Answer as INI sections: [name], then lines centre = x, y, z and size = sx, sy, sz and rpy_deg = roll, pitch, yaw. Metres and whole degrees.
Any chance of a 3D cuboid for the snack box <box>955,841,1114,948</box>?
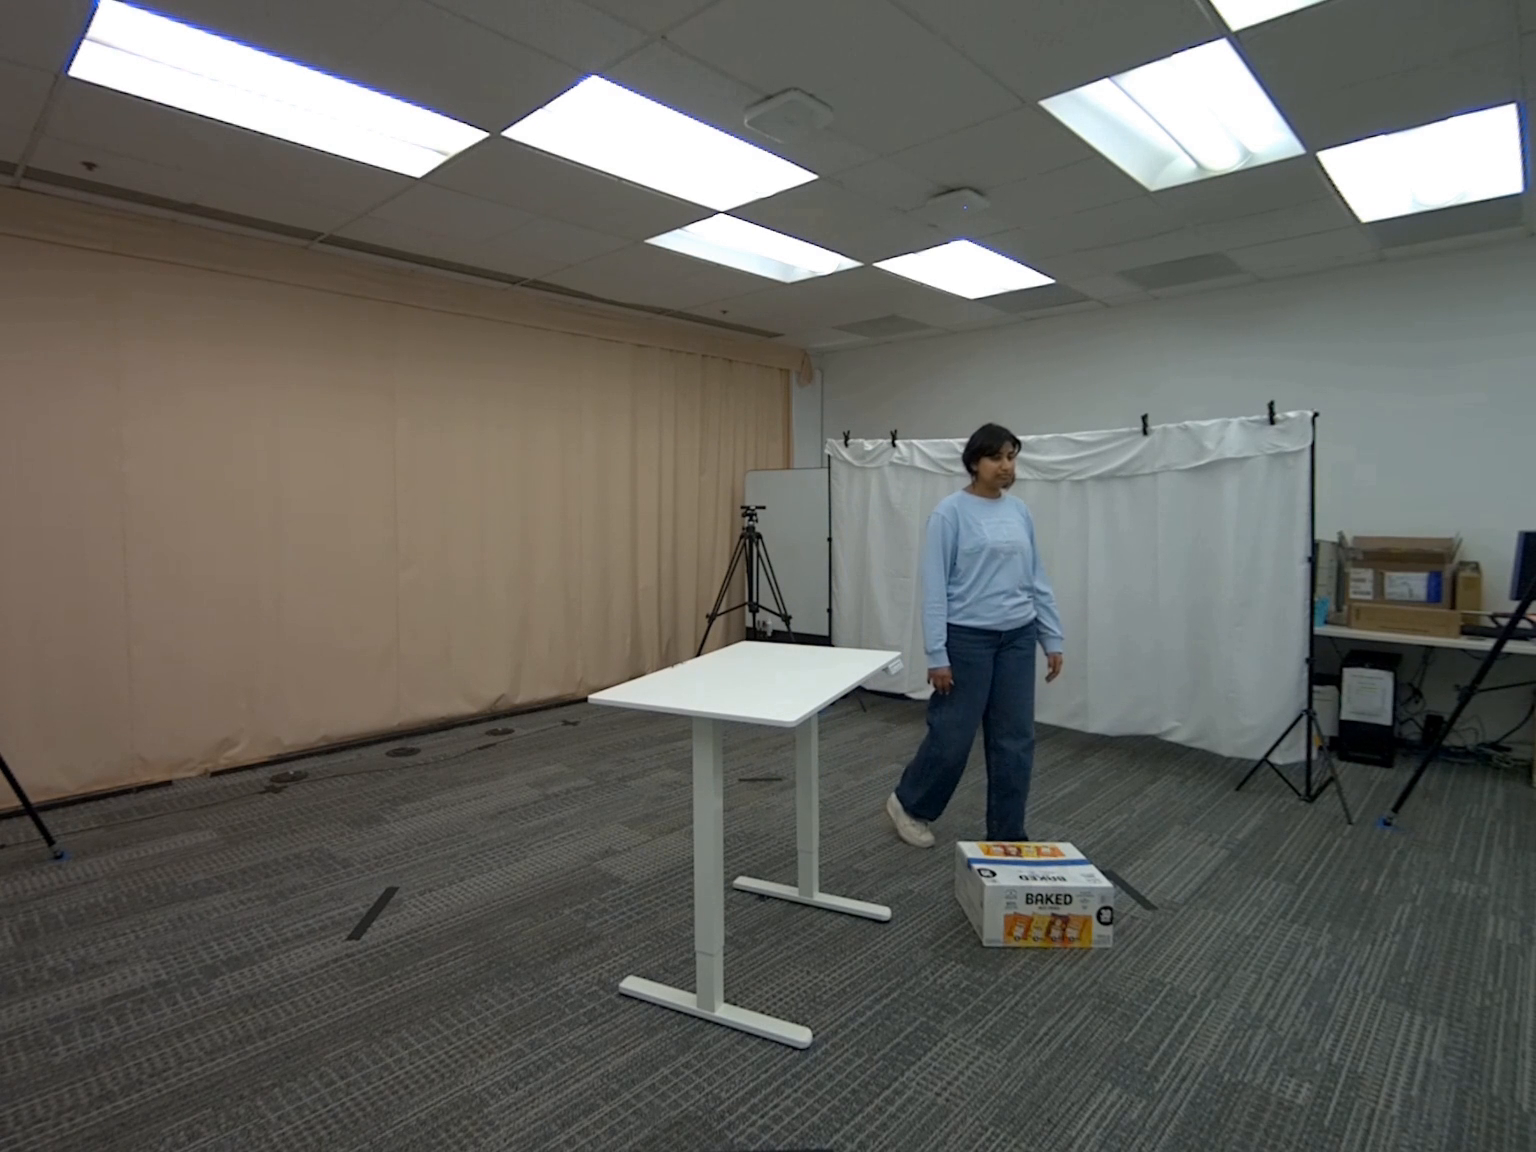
[snack box]
centre = 0.870, 1.048, 2.806
size = 0.405, 0.205, 0.341
rpy_deg = 0, 4, -1
